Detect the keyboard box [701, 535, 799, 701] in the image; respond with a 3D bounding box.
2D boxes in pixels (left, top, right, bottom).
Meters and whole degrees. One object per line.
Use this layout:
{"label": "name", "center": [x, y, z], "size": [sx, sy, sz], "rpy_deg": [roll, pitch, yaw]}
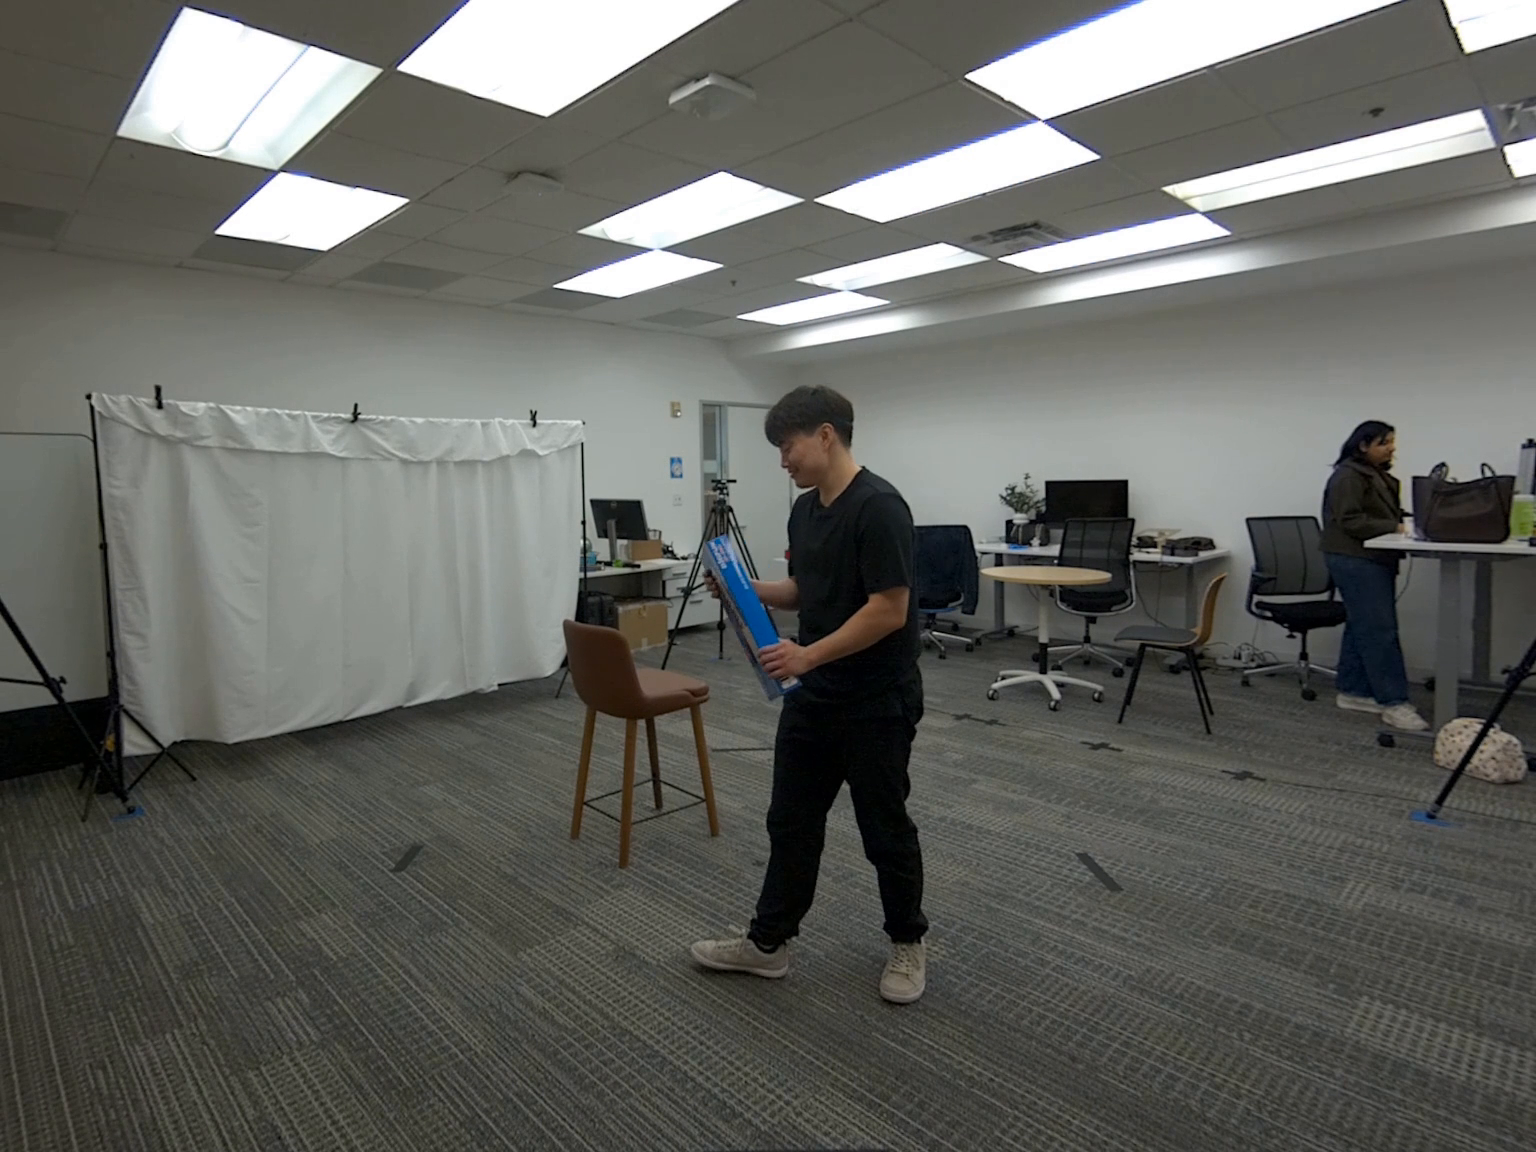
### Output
{"label": "keyboard box", "center": [-0.050, 0.109, 2.264], "size": [0.059, 0.443, 0.175], "rpy_deg": [-24, -11, -14]}
